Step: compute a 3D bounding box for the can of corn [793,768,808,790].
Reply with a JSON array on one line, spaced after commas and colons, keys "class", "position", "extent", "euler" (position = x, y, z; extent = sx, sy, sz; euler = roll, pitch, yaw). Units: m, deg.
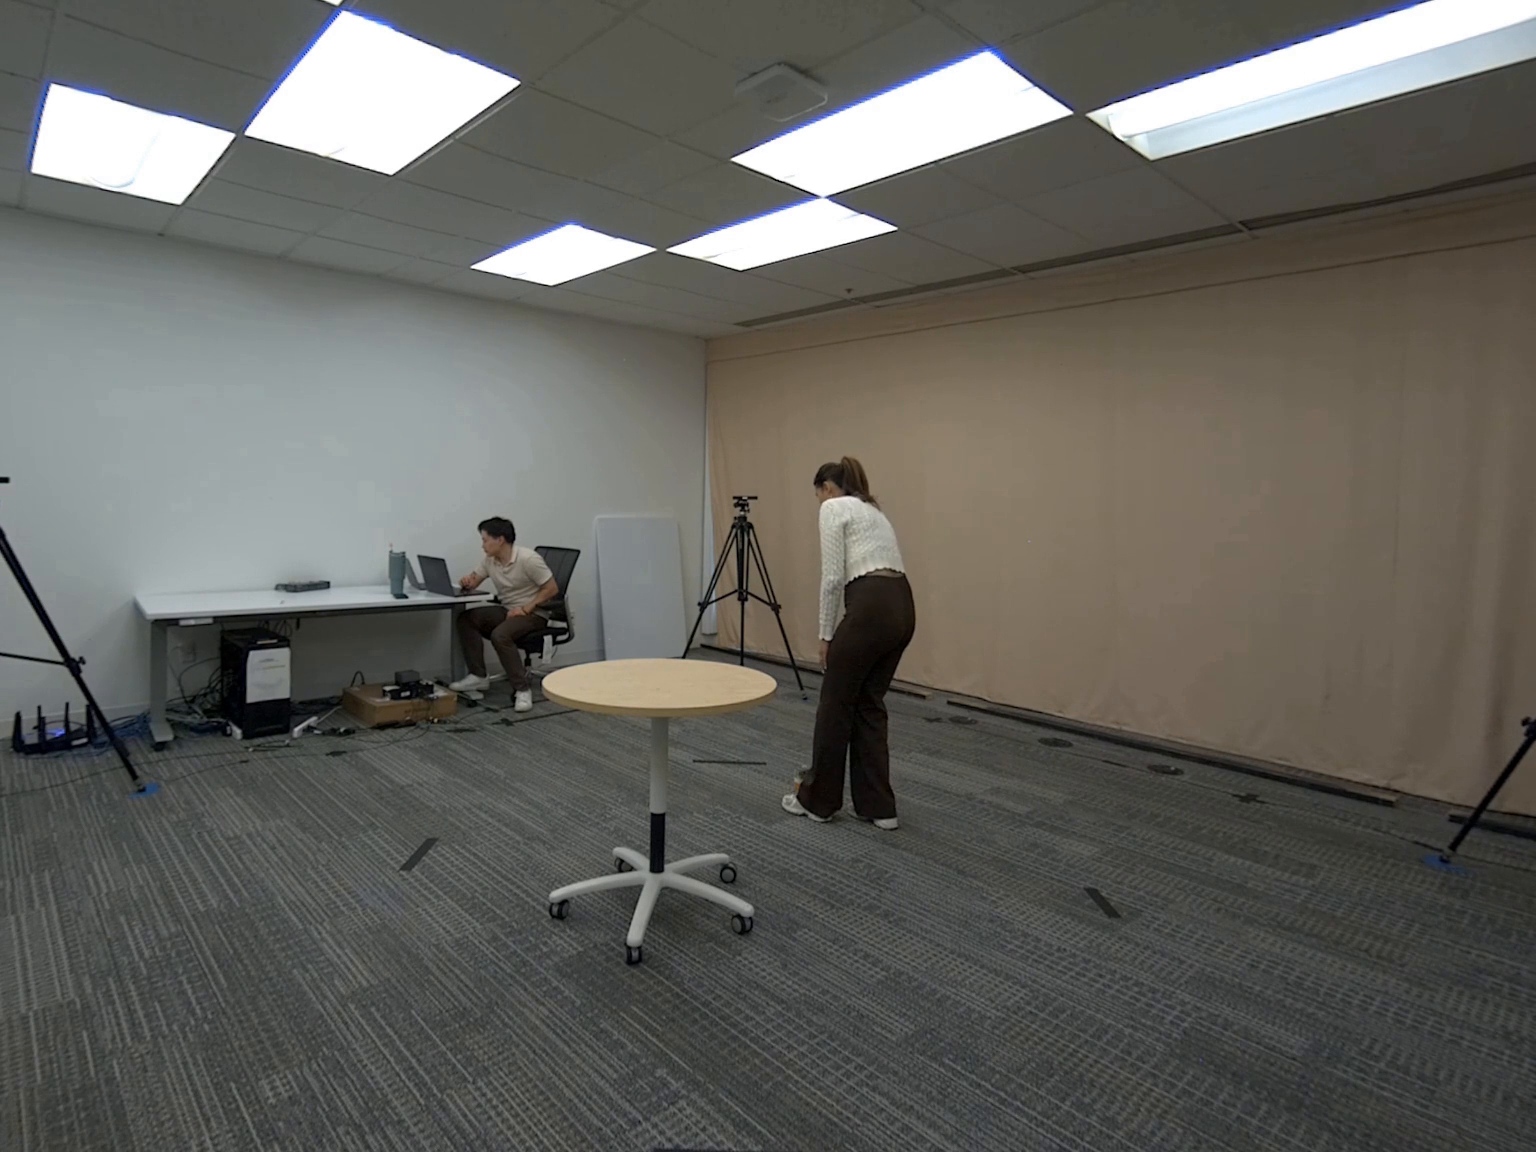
[{"class": "can of corn", "position": [0.158, 0.978, 4.042], "extent": [0.074, 0.111, 0.074], "euler": [1, 2, -1]}]
